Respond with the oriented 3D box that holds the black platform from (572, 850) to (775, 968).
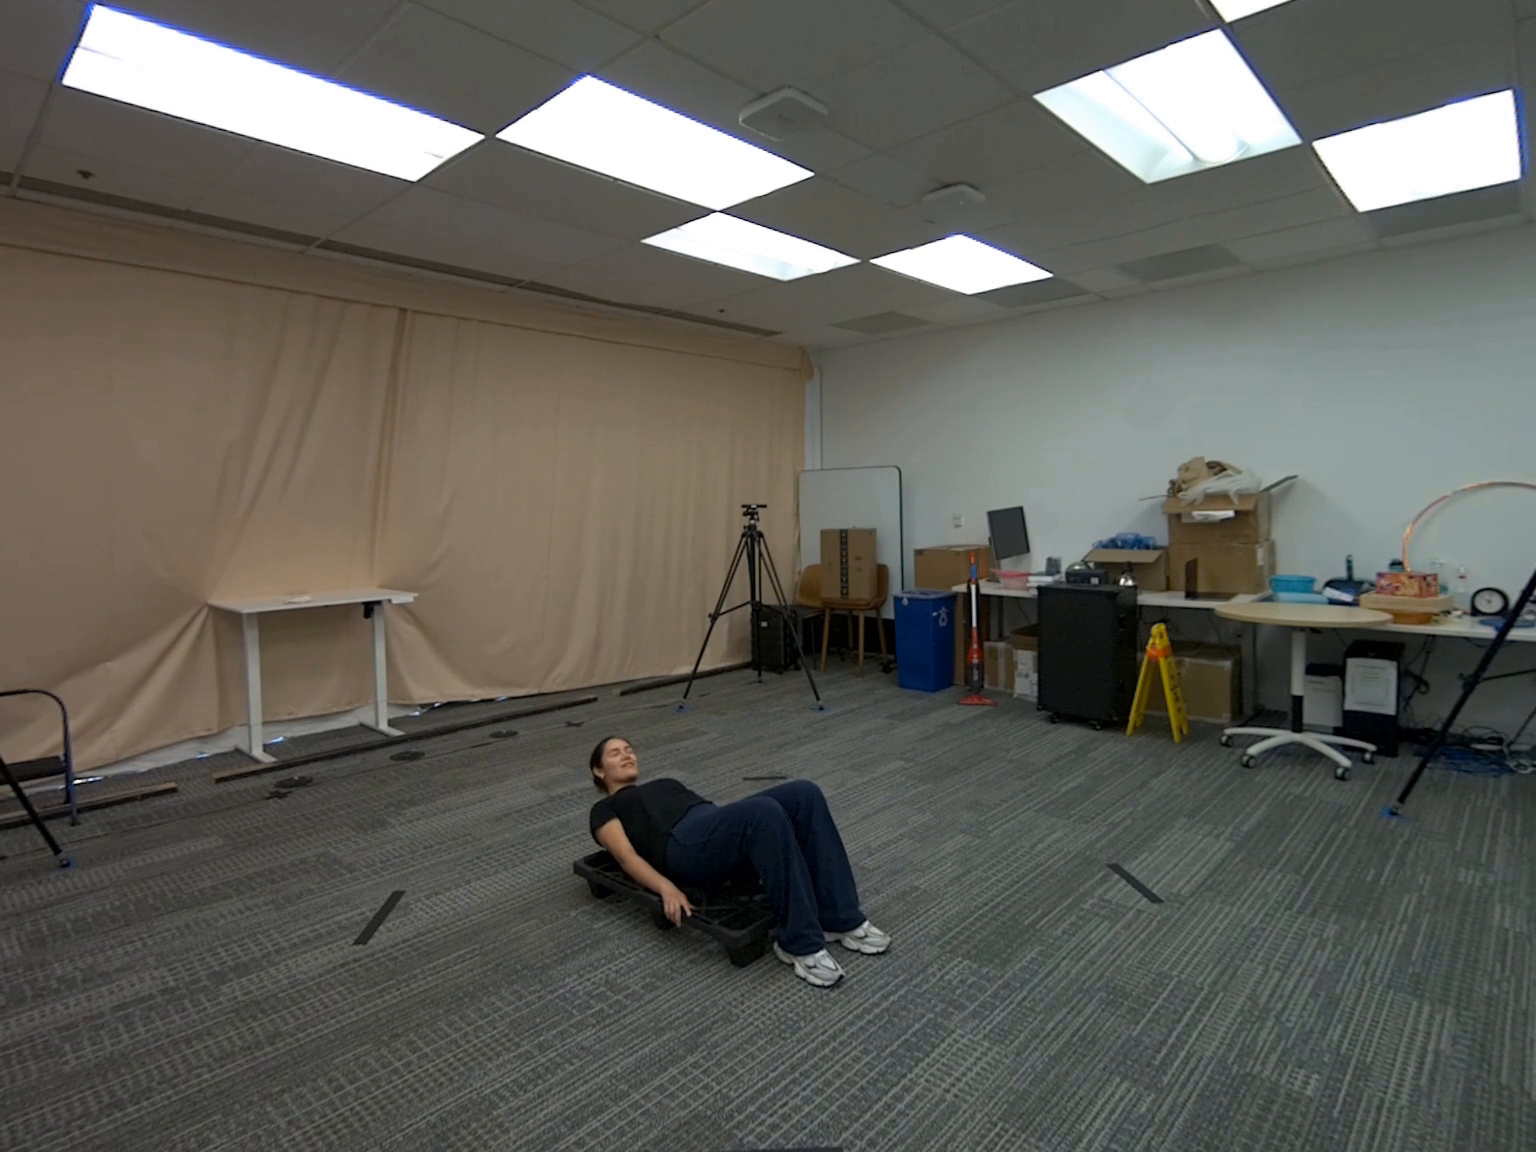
[{"bbox_3d":[-0.196,1.088,2.944,0.832,0.143,0.587,3,6,42],"label":"black platform"}]
